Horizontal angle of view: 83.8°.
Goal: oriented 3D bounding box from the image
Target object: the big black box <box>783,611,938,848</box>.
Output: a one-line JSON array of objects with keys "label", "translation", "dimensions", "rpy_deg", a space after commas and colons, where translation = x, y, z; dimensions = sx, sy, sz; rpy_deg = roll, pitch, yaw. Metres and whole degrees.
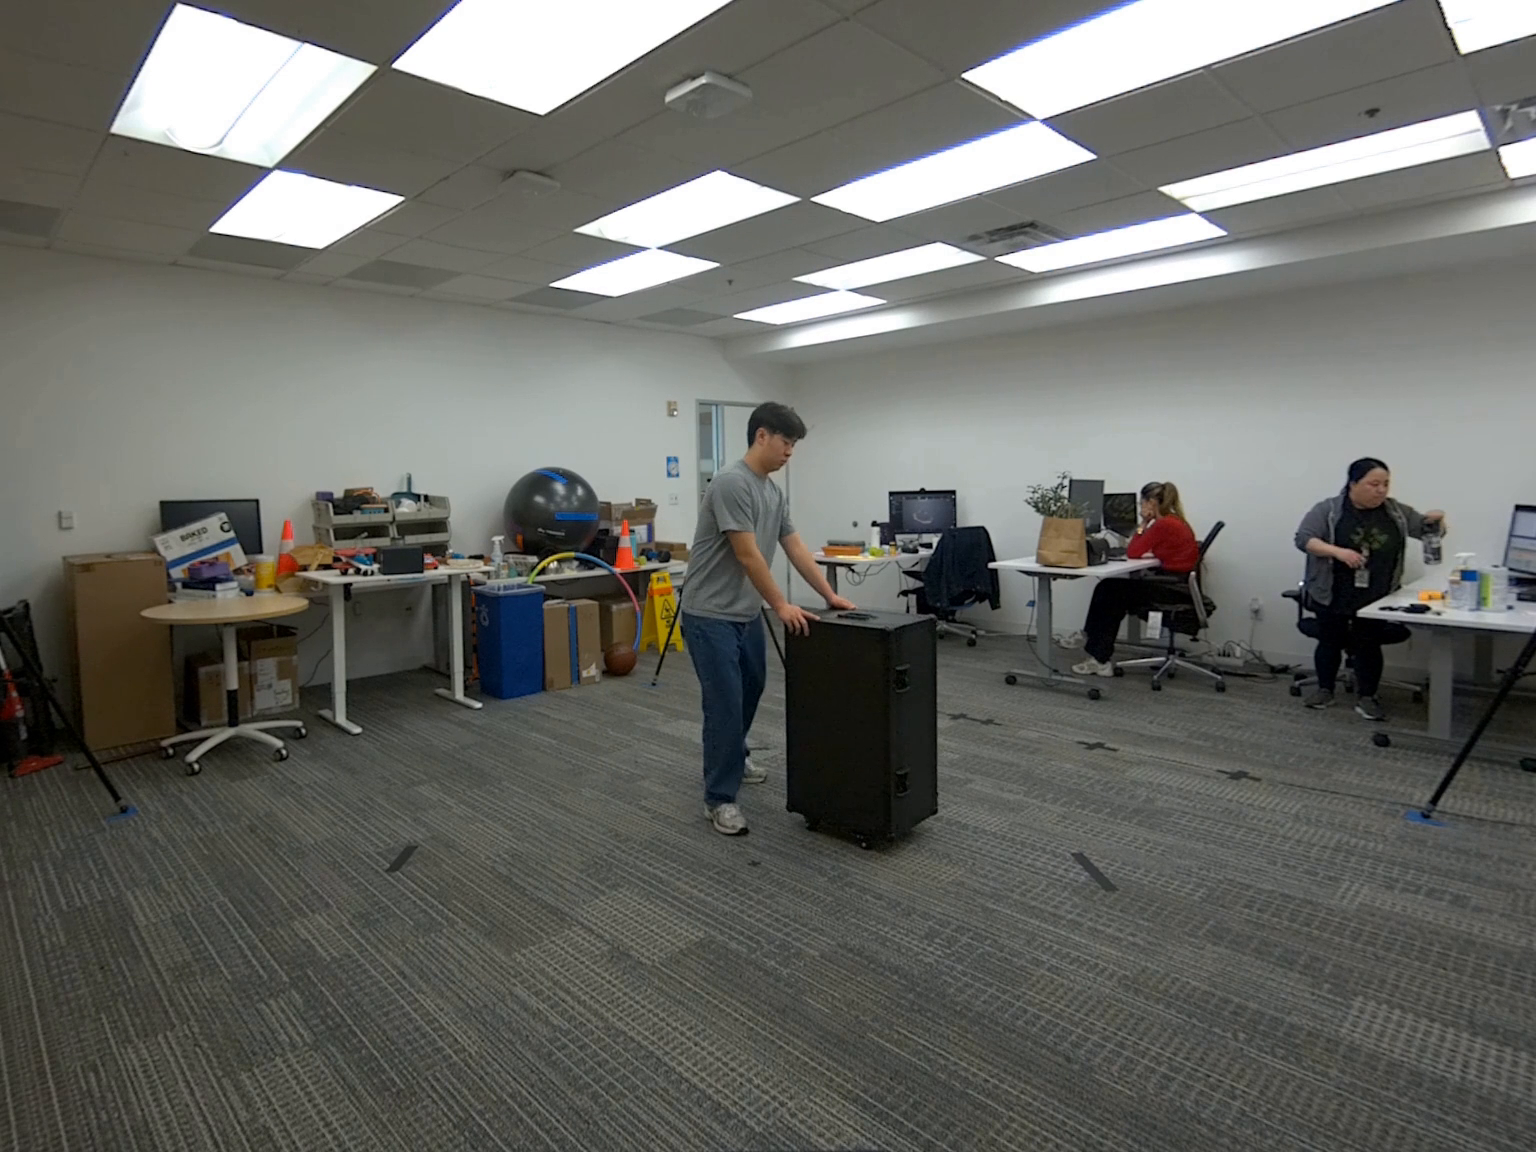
[{"label": "big black box", "translation": [0.366, 0.586, 3.379], "dimensions": [0.537, 0.859, 0.386], "rpy_deg": [2, 4, 40]}]
